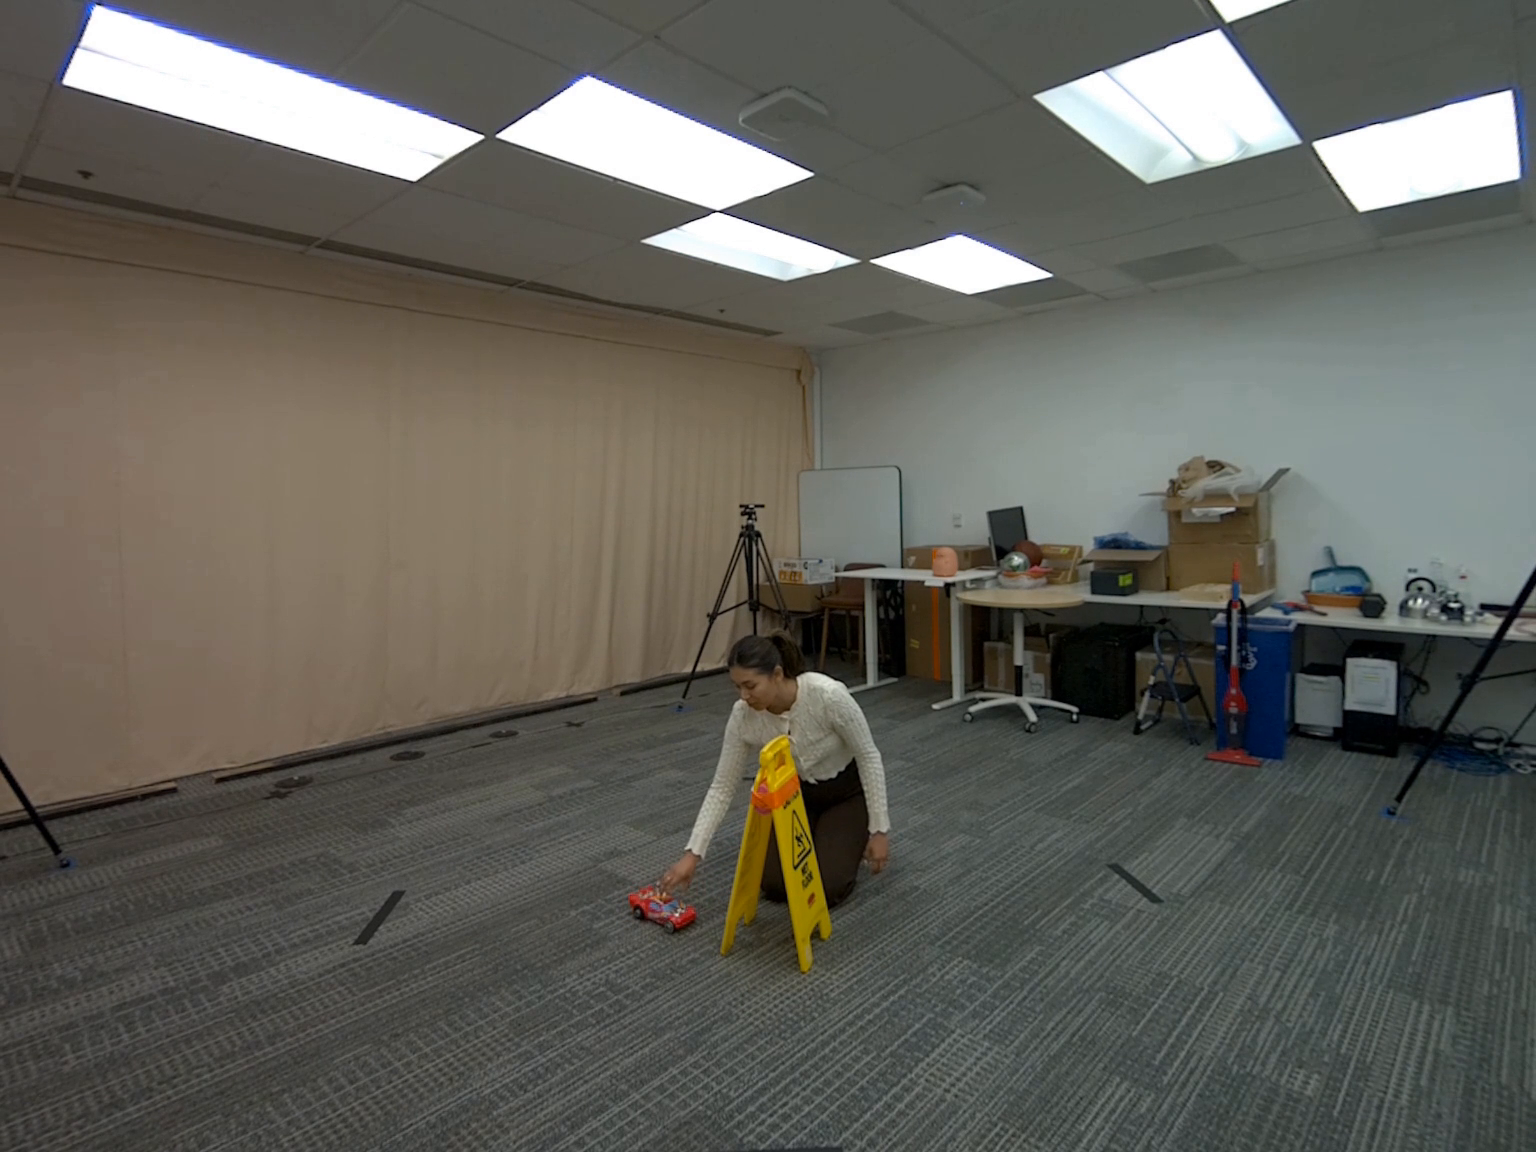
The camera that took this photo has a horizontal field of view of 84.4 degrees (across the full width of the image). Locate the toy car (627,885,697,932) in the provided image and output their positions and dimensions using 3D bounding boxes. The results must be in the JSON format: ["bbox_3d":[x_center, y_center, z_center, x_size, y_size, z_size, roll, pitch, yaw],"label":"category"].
[{"bbox_3d":[-0.364,1.127,2.855,0.264,0.083,0.126,16,14,38],"label":"toy car"}]
